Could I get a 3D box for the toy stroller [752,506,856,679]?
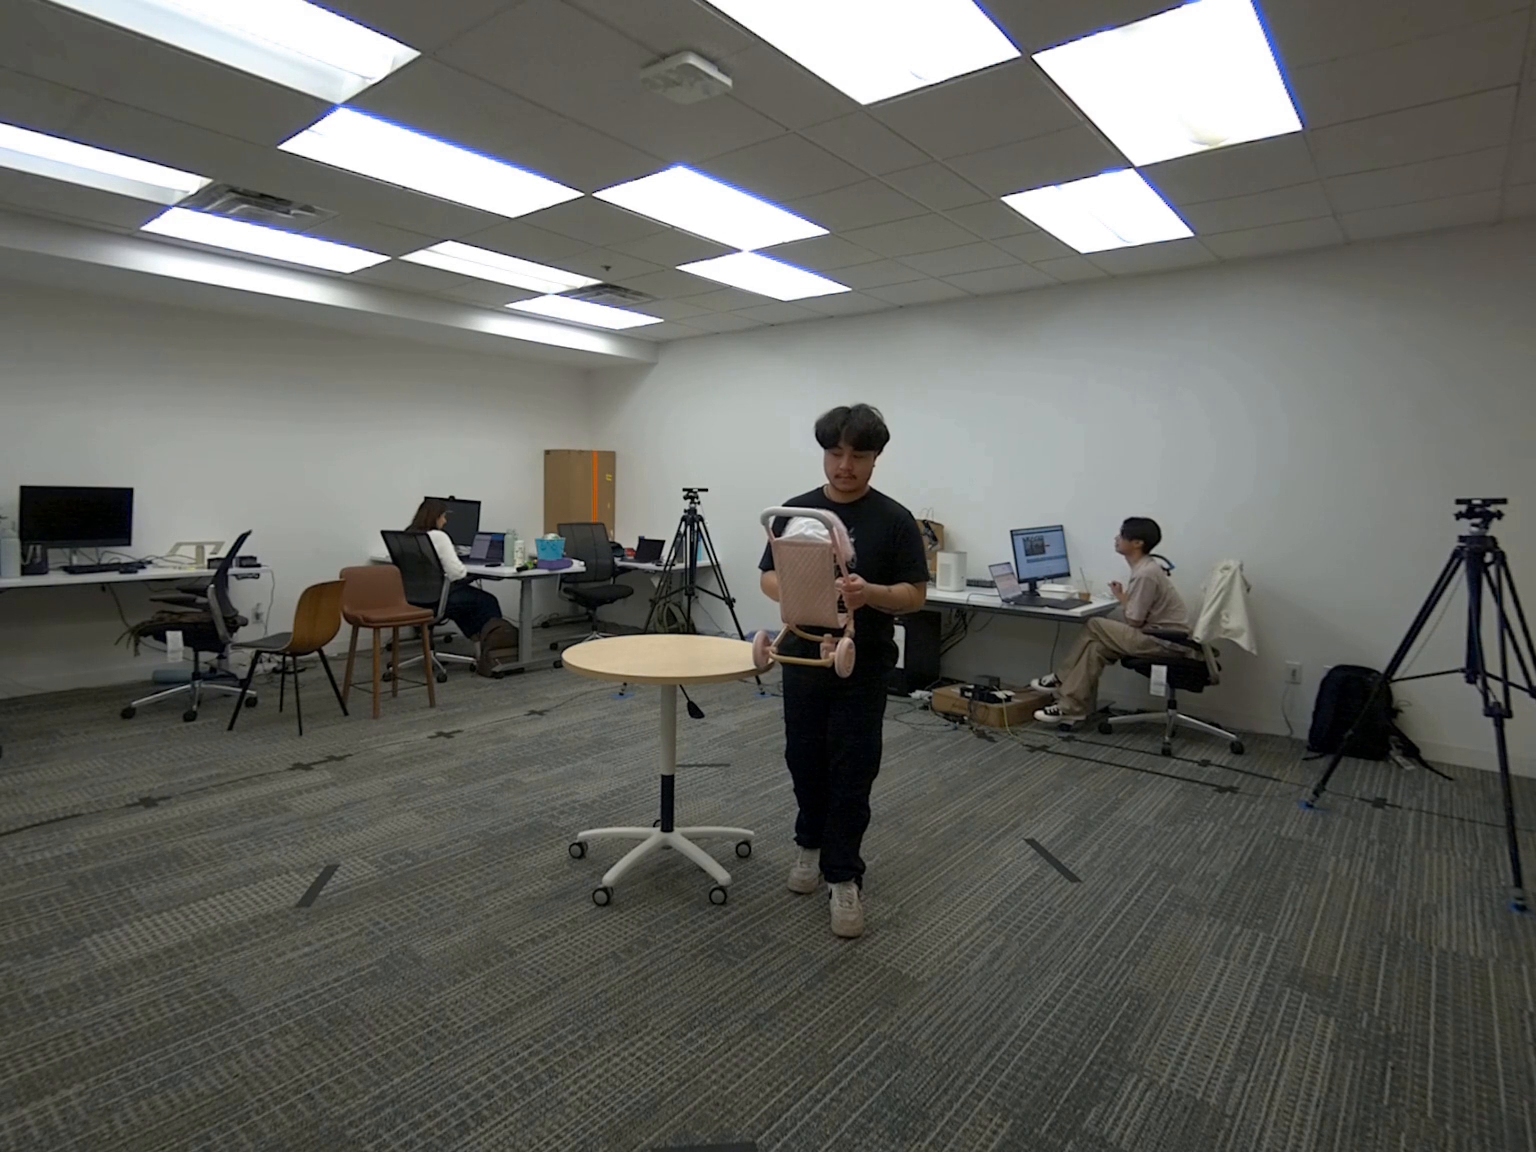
[{"bbox_3d":[0.133,0.045,2.480,0.289,0.530,0.335,3,10,26],"label":"toy stroller"}]
